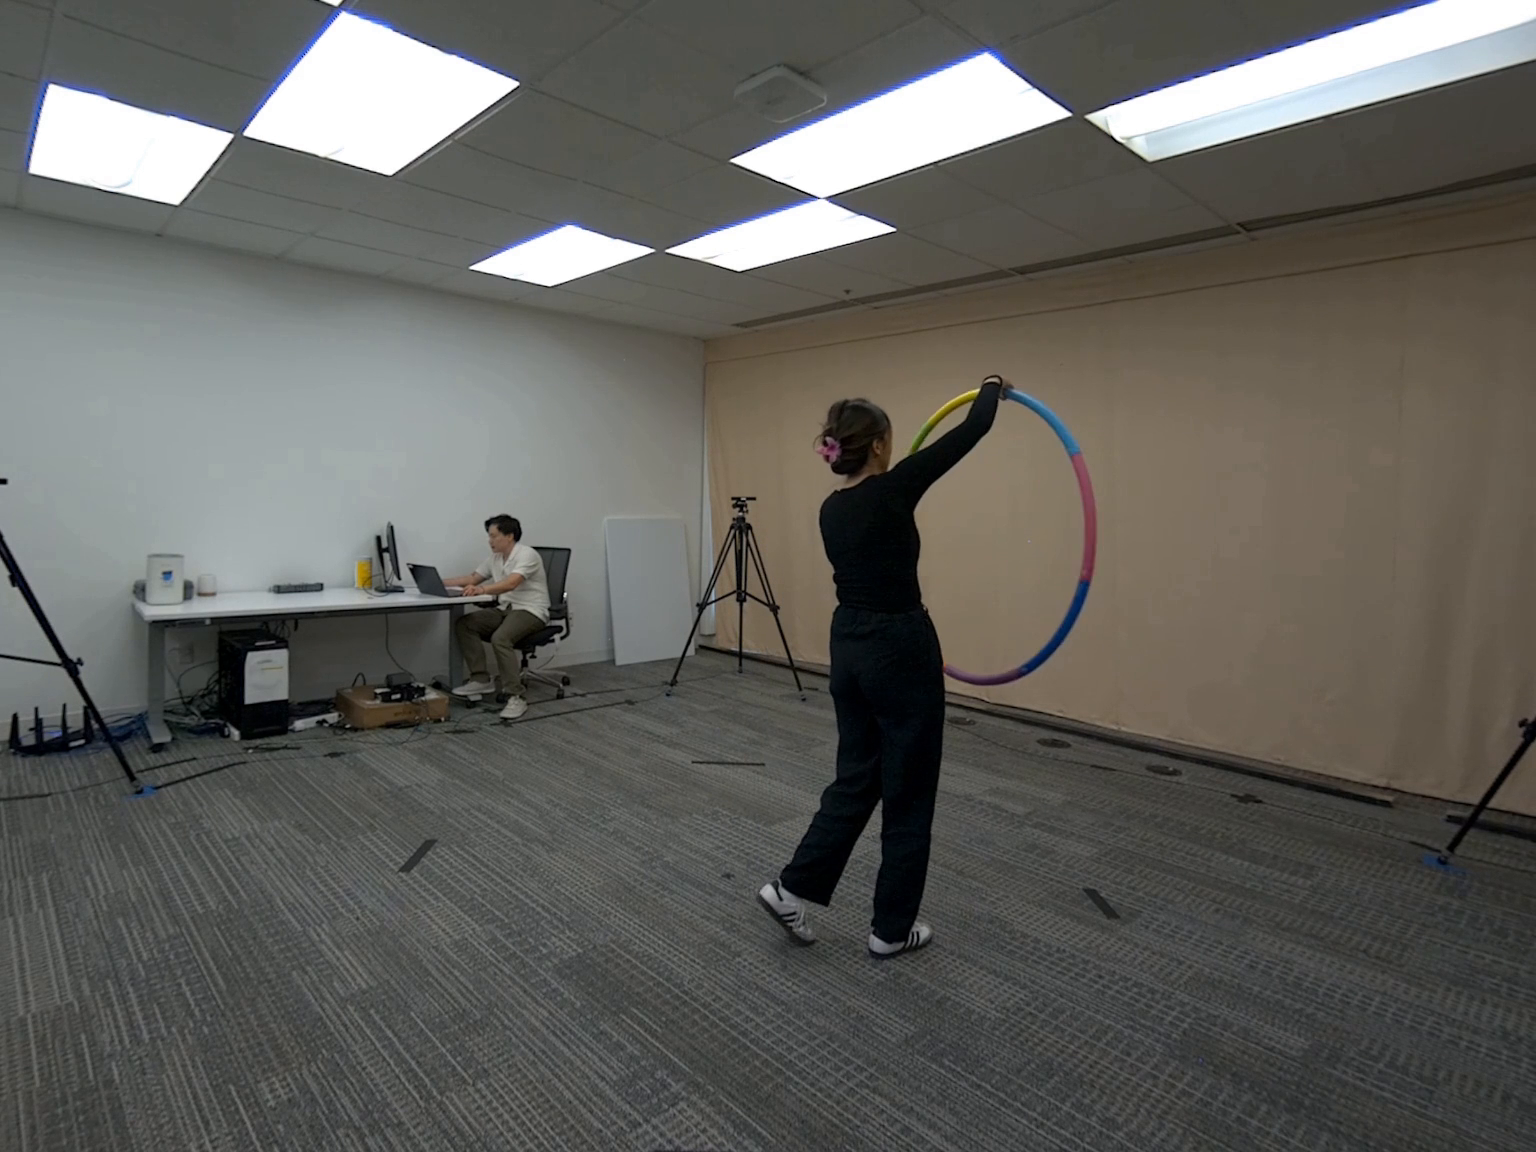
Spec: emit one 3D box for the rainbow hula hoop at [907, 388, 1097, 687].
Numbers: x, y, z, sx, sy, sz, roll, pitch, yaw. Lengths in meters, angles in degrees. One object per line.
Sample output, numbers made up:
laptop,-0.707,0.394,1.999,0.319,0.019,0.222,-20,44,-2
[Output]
rainbow hula hoop,0.691,-0.135,2.819,0.051,0.983,1.005,2,4,-25
